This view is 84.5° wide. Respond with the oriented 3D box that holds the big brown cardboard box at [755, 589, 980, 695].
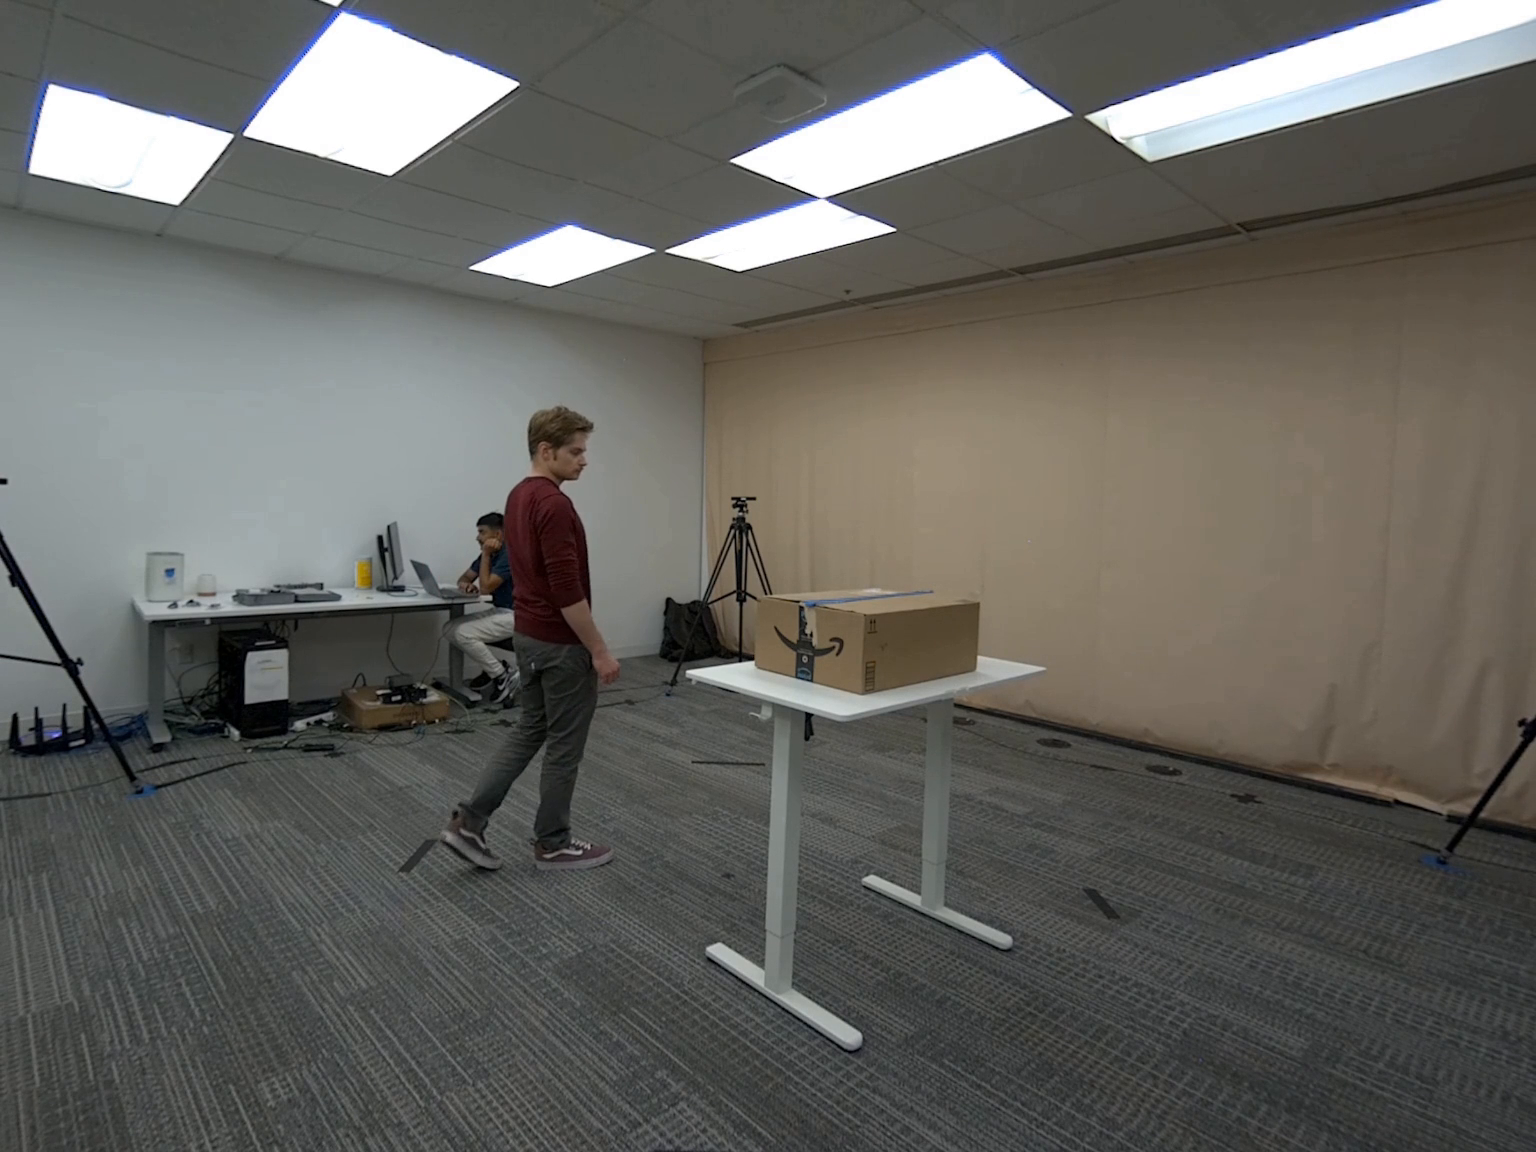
[{"bbox_3d":[0.304,0.176,2.550,0.576,0.232,0.428,-4,8,-44],"label":"big brown cardboard box"}]
